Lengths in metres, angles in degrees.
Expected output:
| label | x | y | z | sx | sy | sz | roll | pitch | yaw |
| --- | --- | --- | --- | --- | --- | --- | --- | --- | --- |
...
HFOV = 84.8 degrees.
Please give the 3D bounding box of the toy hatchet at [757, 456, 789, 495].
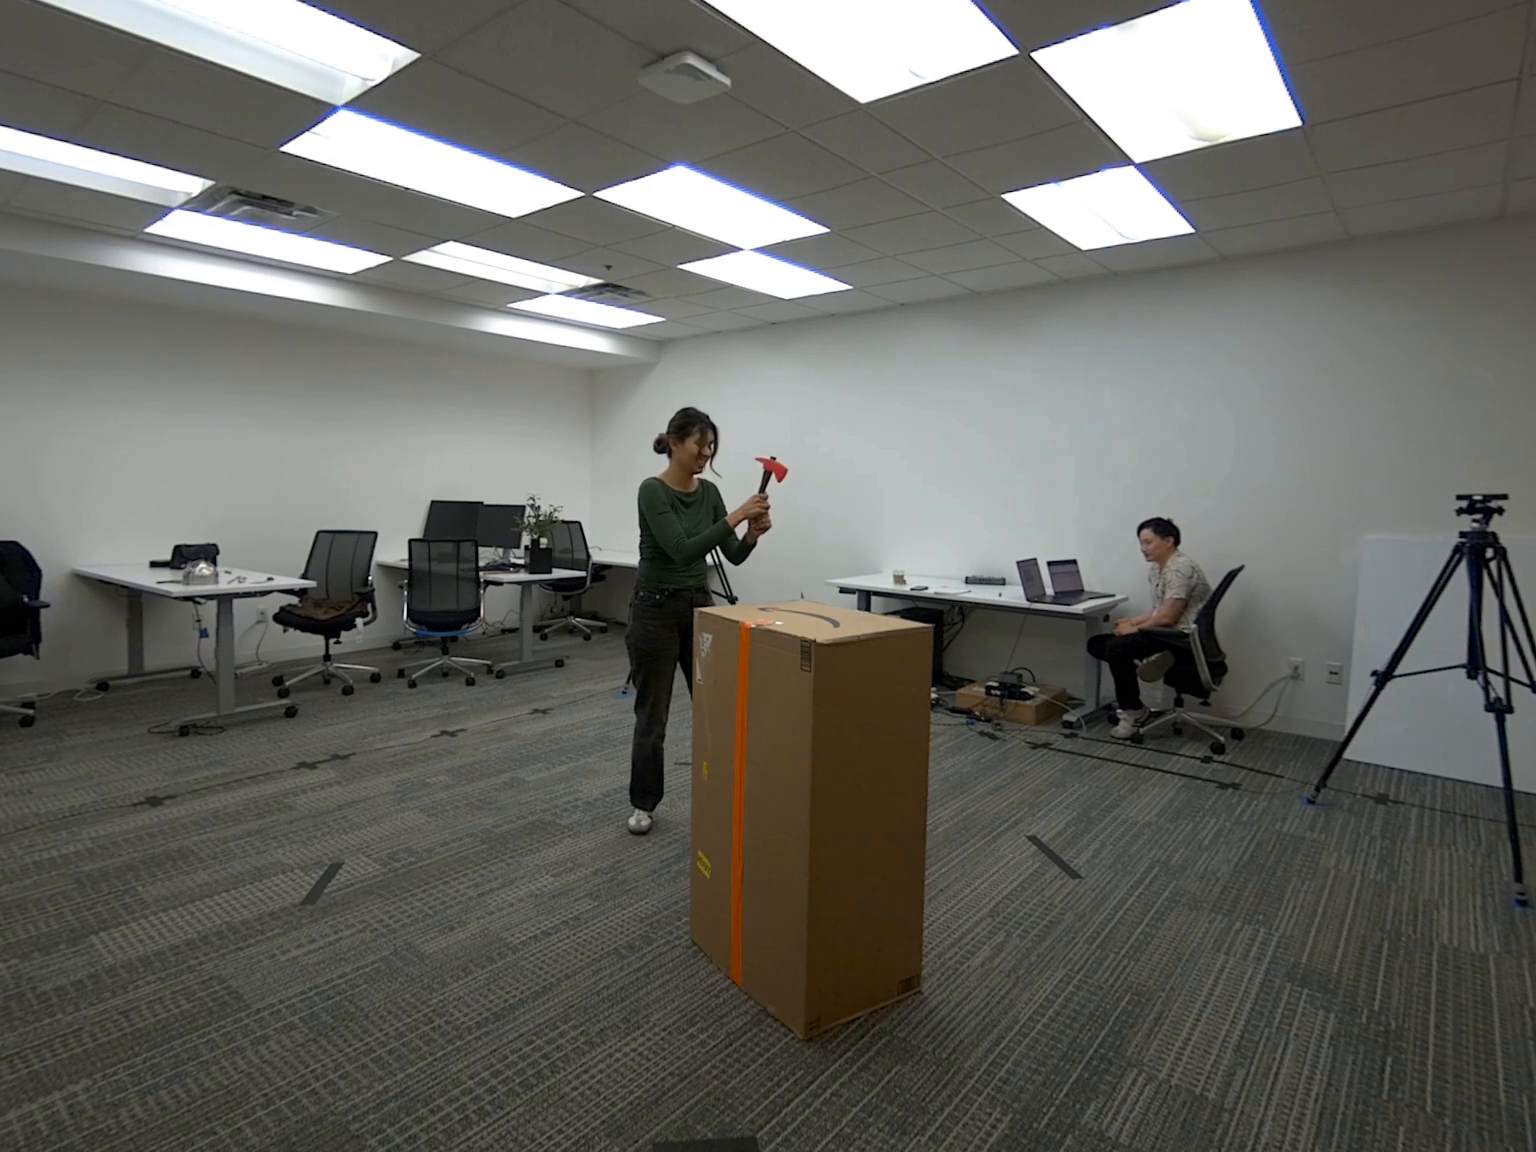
| label | x | y | z | sx | sy | sz | roll | pitch | yaw |
| --- | --- | --- | --- | --- | --- | --- | --- | --- | --- |
| toy hatchet | 0.000 | -0.299 | 3.060 | 0.134 | 0.268 | 0.029 | 5 | 9 | 22 |
